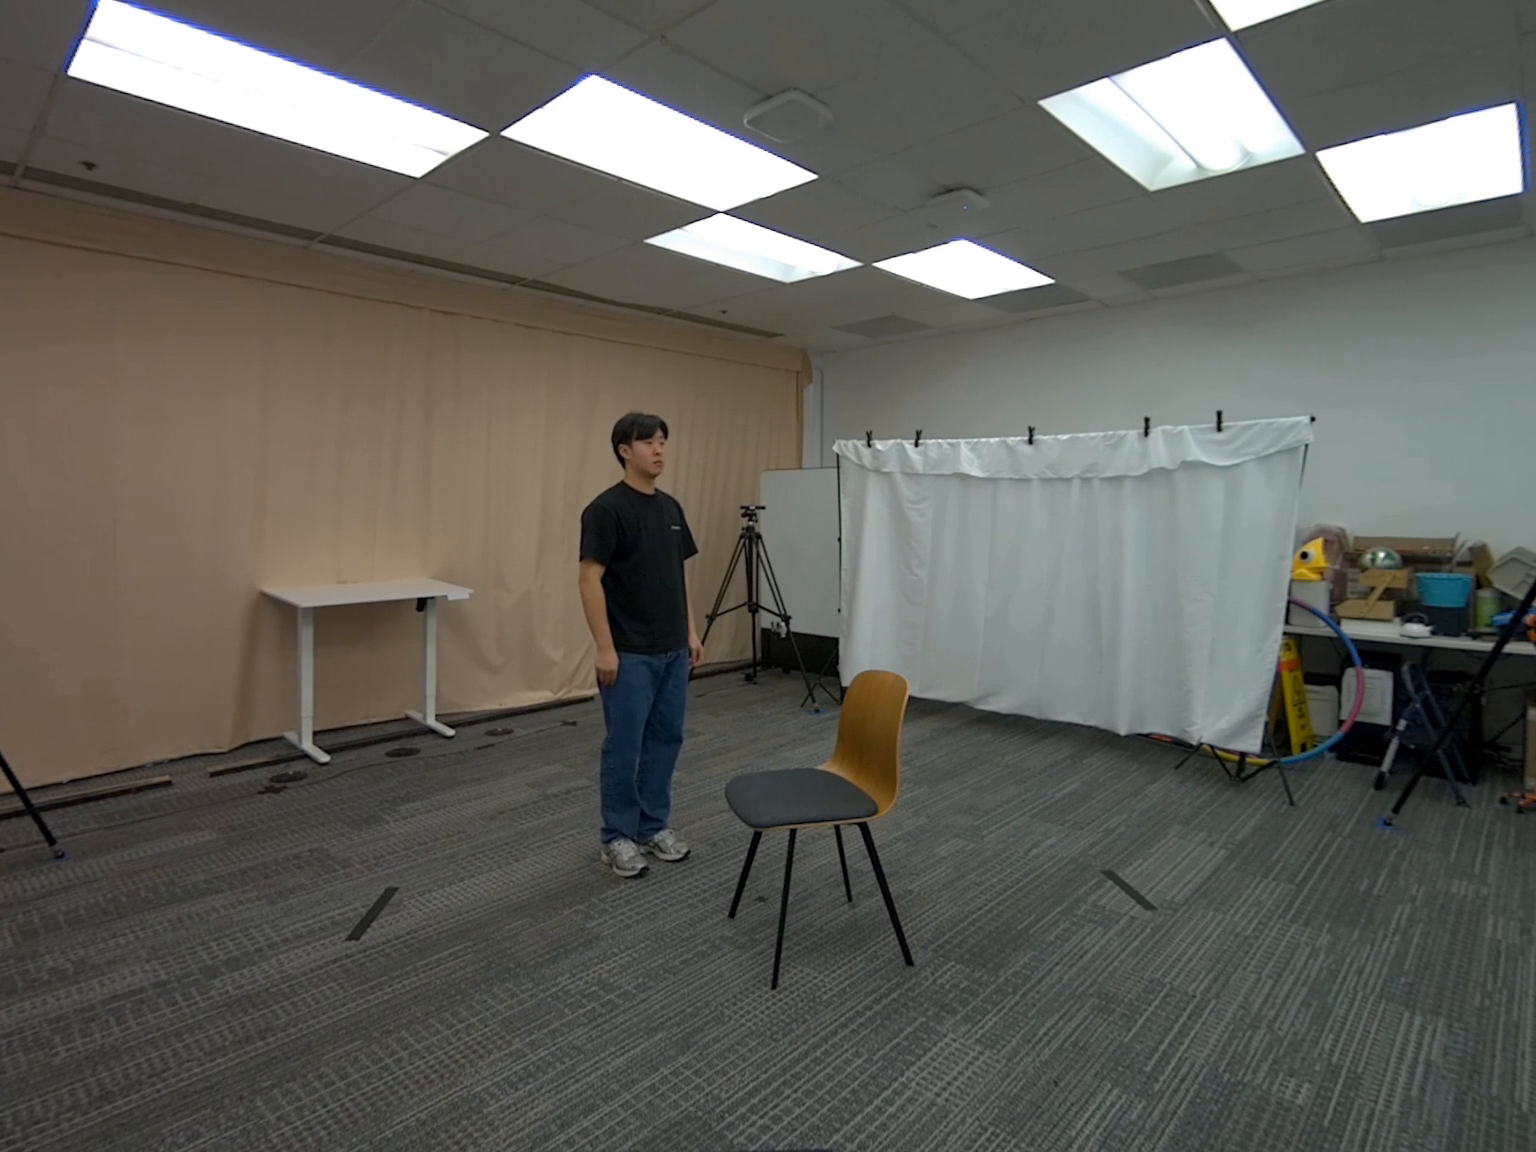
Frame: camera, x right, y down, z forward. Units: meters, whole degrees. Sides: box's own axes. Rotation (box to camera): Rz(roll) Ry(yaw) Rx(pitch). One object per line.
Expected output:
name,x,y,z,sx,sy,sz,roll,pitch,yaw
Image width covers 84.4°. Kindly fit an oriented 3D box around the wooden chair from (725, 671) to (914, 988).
wooden chair,0.152,0.745,2.668,0.513,0.876,0.488,3,2,-18
